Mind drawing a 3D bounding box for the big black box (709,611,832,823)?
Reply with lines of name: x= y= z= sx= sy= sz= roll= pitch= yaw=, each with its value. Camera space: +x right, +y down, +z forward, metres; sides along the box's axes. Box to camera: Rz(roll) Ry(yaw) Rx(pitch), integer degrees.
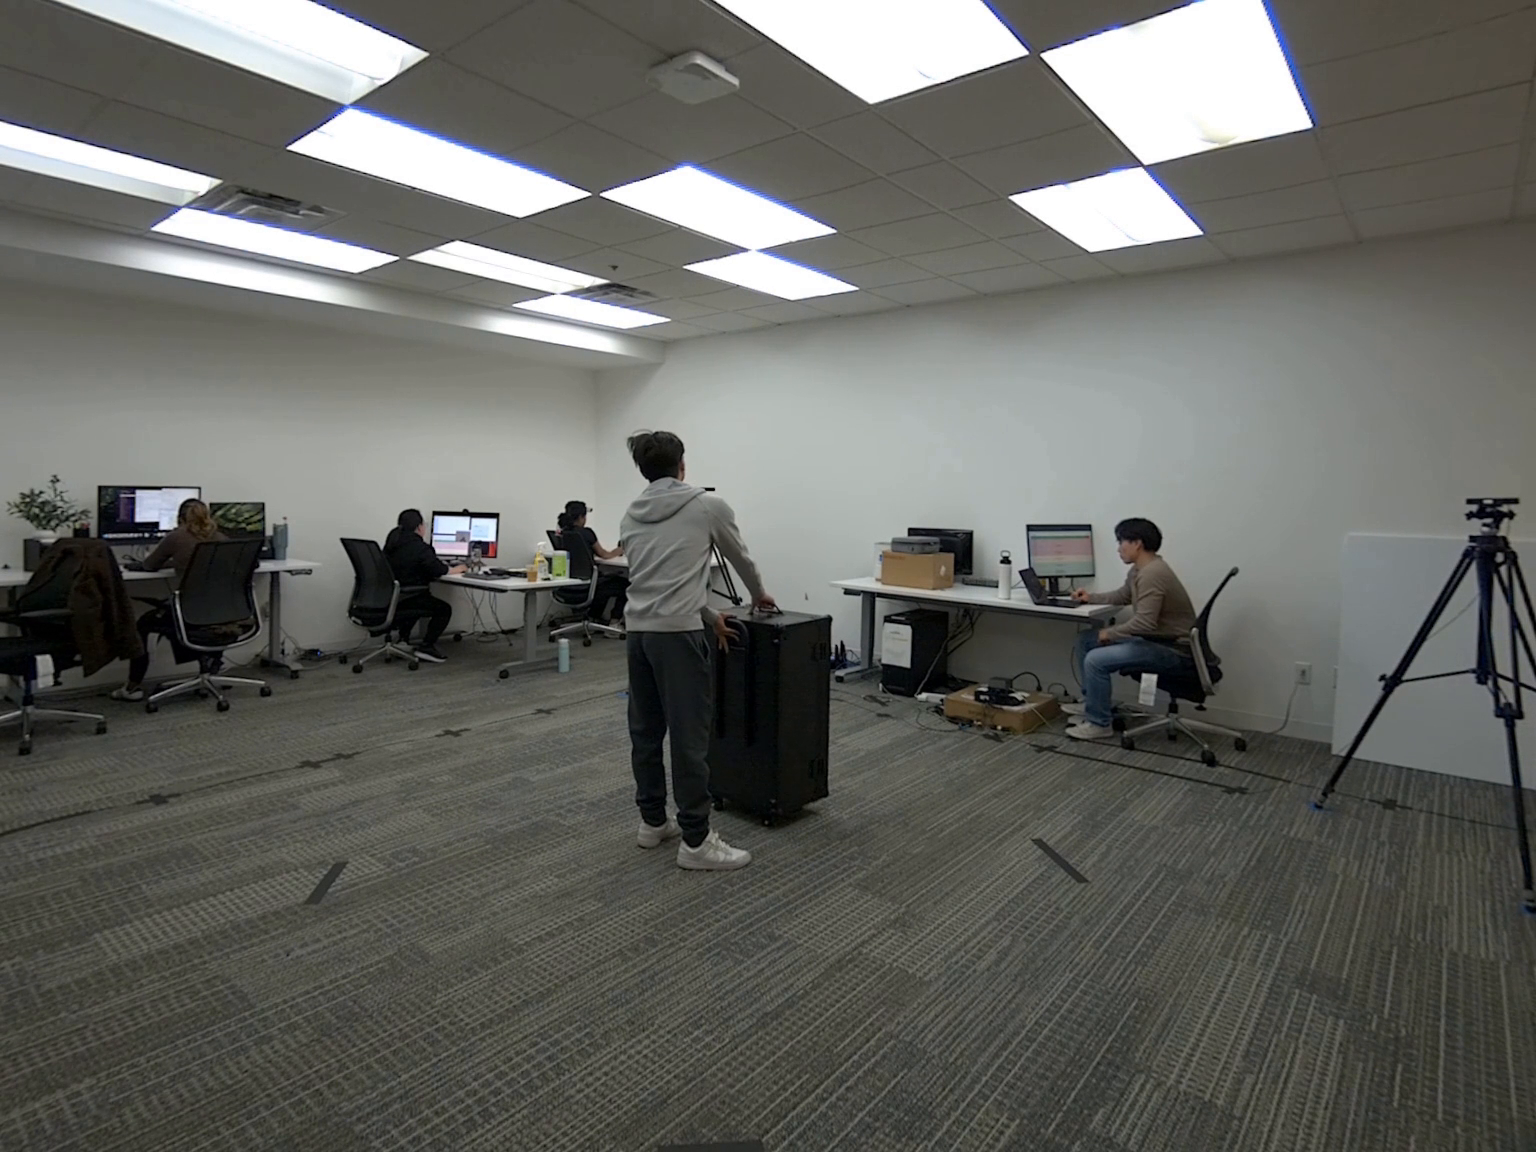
big black box: x=-0.039 y=0.589 z=3.686 sx=0.539 sy=0.858 sz=0.385 roll=4 pitch=6 yaw=41
